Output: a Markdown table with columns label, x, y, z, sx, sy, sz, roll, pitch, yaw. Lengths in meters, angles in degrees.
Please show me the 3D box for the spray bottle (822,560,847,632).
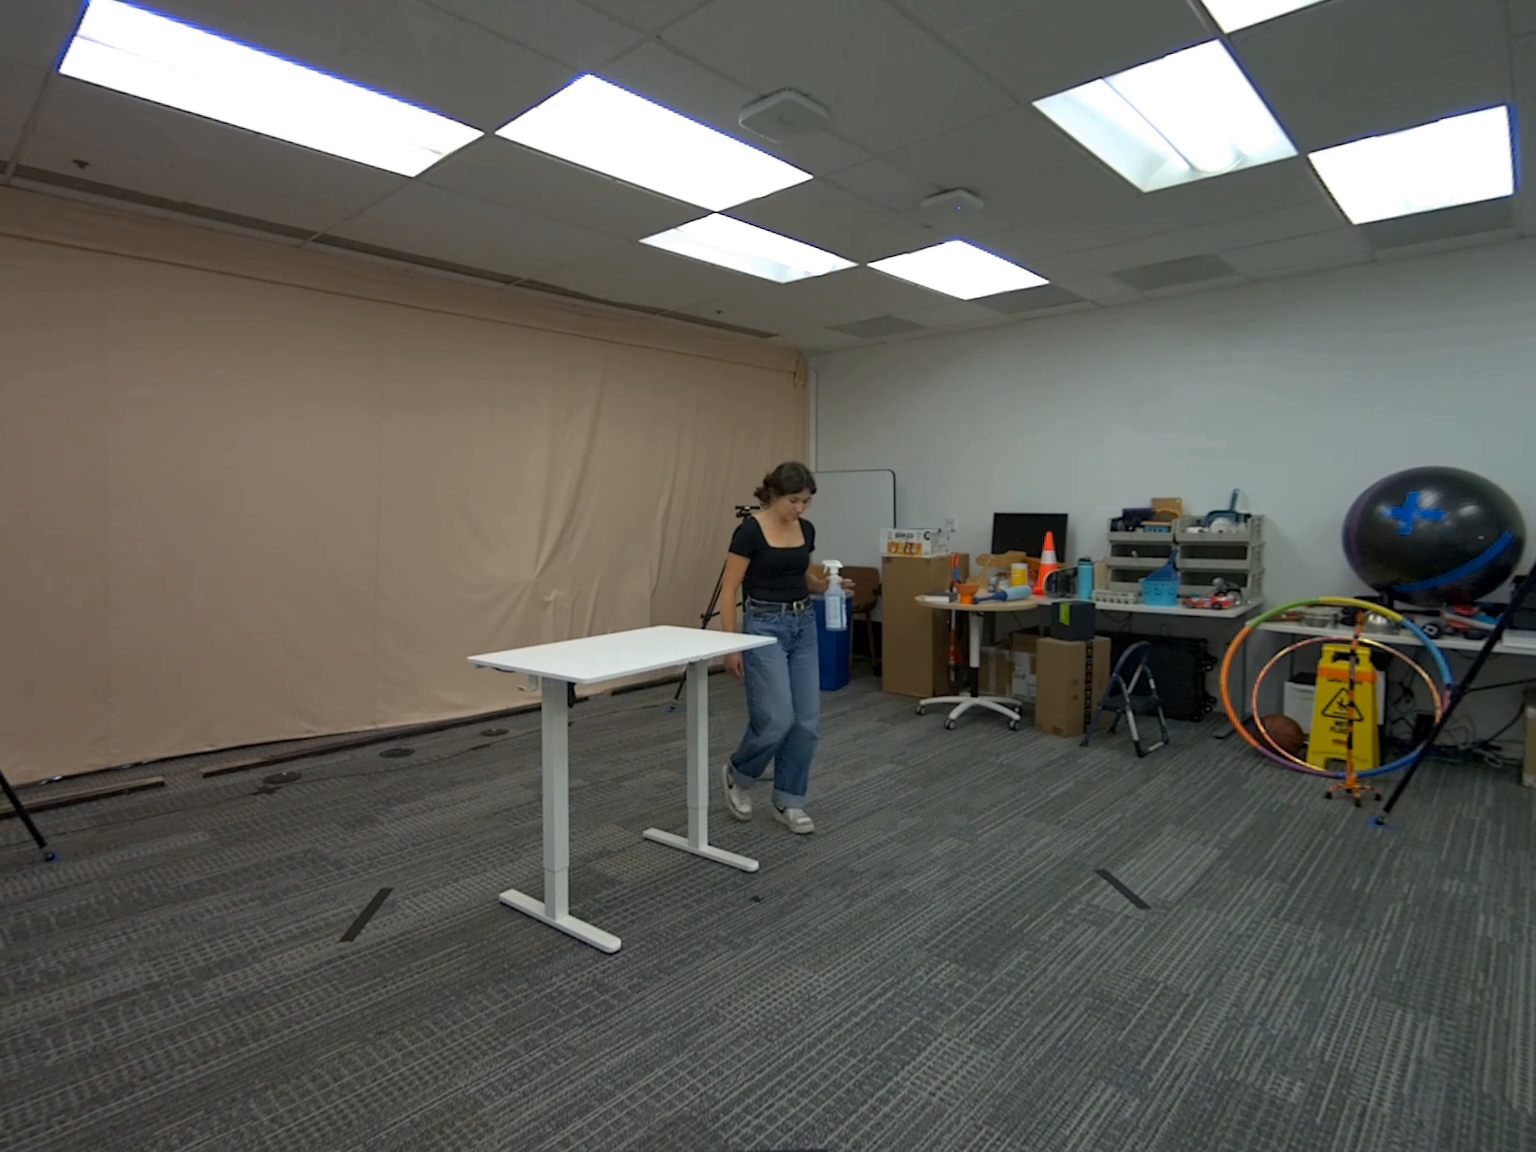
| label | x | y | z | sx | sy | sz | roll | pitch | yaw |
| --- | --- | --- | --- | --- | --- | --- | --- | --- | --- |
| spray bottle | 0.280 | 0.081 | 3.564 | 0.085 | 0.297 | 0.092 | -4 | 0 | -28 |
